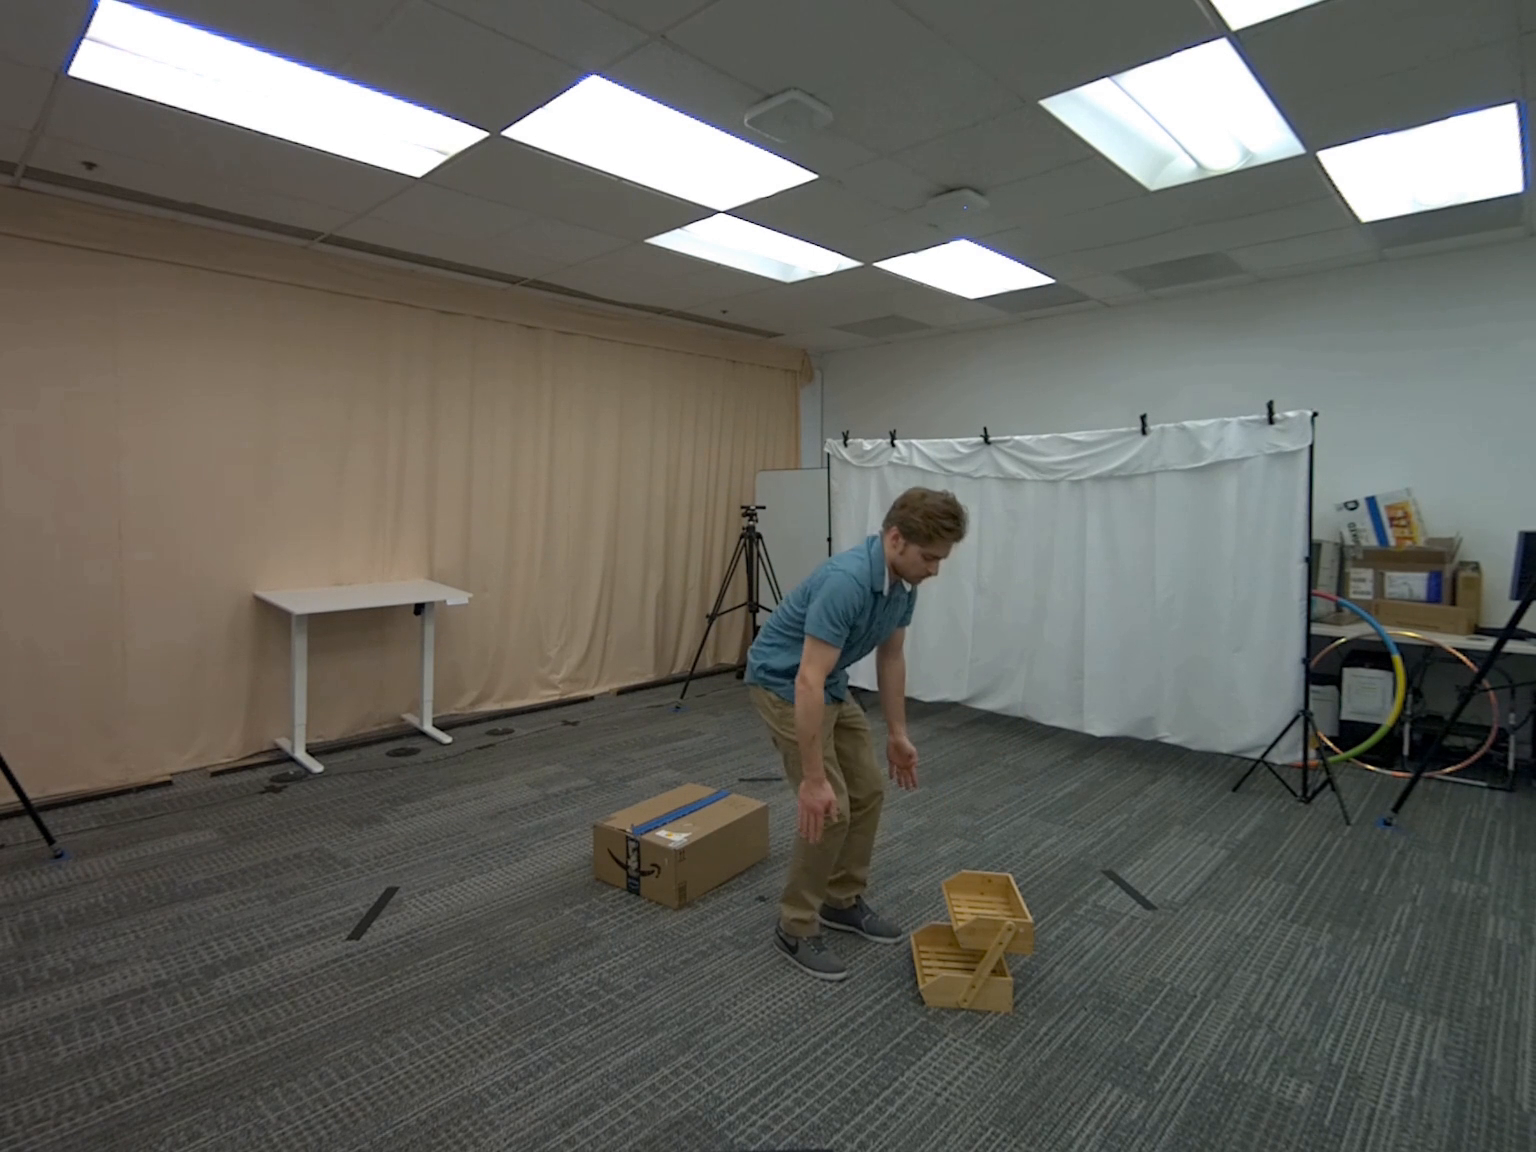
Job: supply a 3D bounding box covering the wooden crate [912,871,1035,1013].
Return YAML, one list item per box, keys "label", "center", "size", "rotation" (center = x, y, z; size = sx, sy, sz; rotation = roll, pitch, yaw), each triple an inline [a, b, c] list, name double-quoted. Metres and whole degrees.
- label: "wooden crate"
  center: [0.581, 1.047, 2.464]
  size: [0.304, 0.272, 0.323]
  rotation: [1, 5, 5]
